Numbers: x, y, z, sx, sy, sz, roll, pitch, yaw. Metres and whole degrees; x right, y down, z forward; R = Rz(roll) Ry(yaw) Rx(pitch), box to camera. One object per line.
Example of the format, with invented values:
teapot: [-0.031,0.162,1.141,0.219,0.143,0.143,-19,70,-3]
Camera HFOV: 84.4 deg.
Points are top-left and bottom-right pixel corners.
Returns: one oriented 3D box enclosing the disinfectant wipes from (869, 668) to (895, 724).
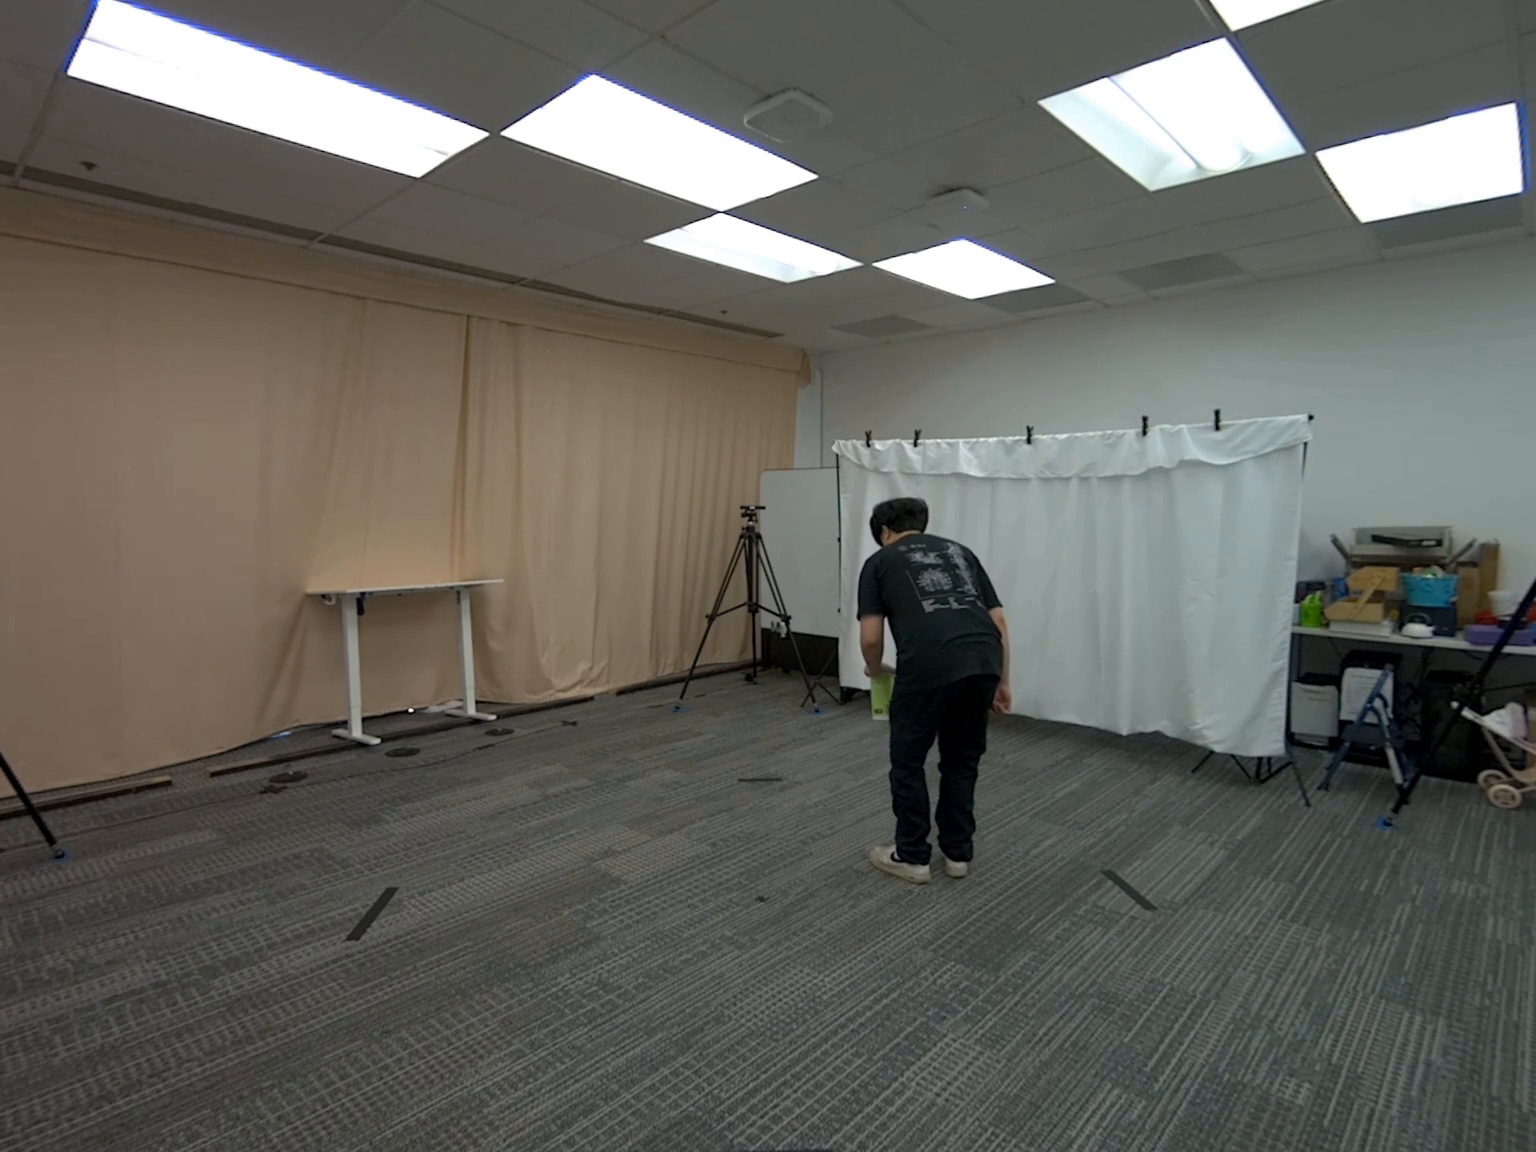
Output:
disinfectant wipes: [0.495,0.497,3.532,0.117,0.218,0.117,-2,-7,-2]
